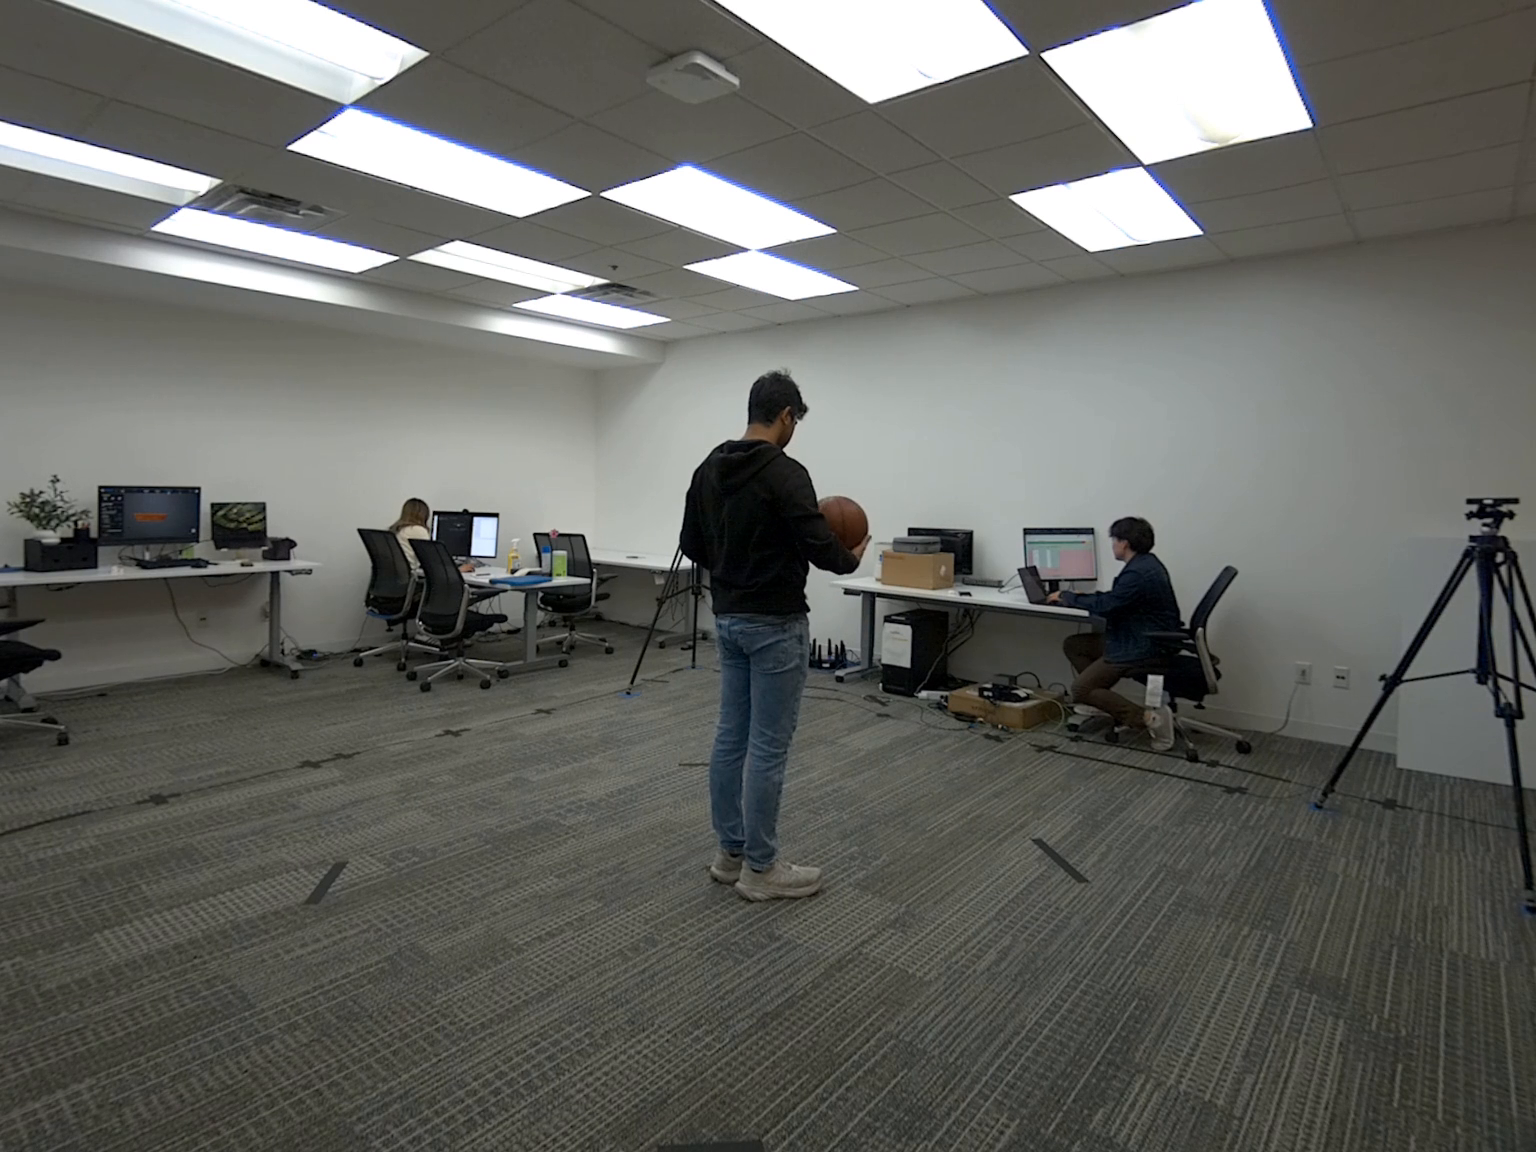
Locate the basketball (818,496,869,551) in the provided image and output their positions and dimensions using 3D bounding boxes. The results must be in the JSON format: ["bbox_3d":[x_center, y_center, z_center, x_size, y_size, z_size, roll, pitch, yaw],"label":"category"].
[{"bbox_3d":[0.218,-0.176,3.149,0.235,0.235,0.237,1,4,-2],"label":"basketball"}]
